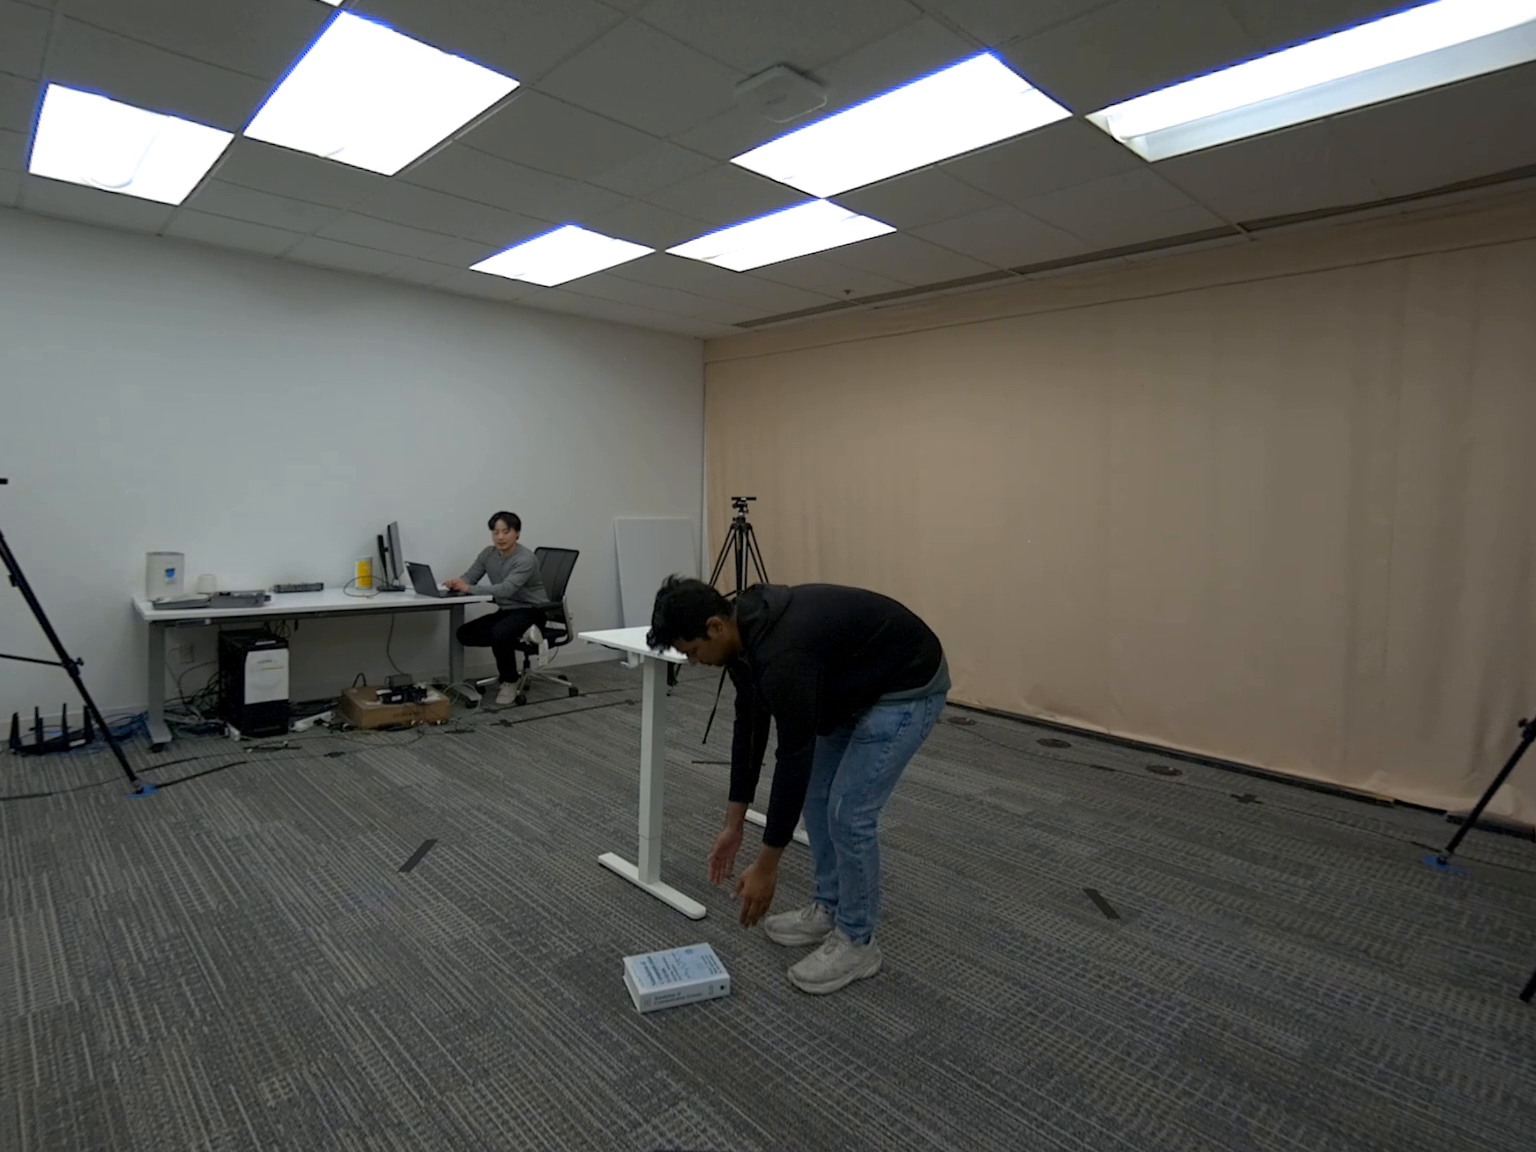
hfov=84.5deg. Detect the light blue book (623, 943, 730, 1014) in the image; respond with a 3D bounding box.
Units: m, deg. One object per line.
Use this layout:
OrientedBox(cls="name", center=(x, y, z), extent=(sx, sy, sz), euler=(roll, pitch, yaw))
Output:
OrientedBox(cls="light blue book", center=(-0.263, 1.137, 2.390), extent=(0.257, 0.059, 0.195), euler=(0, 5, -22))
